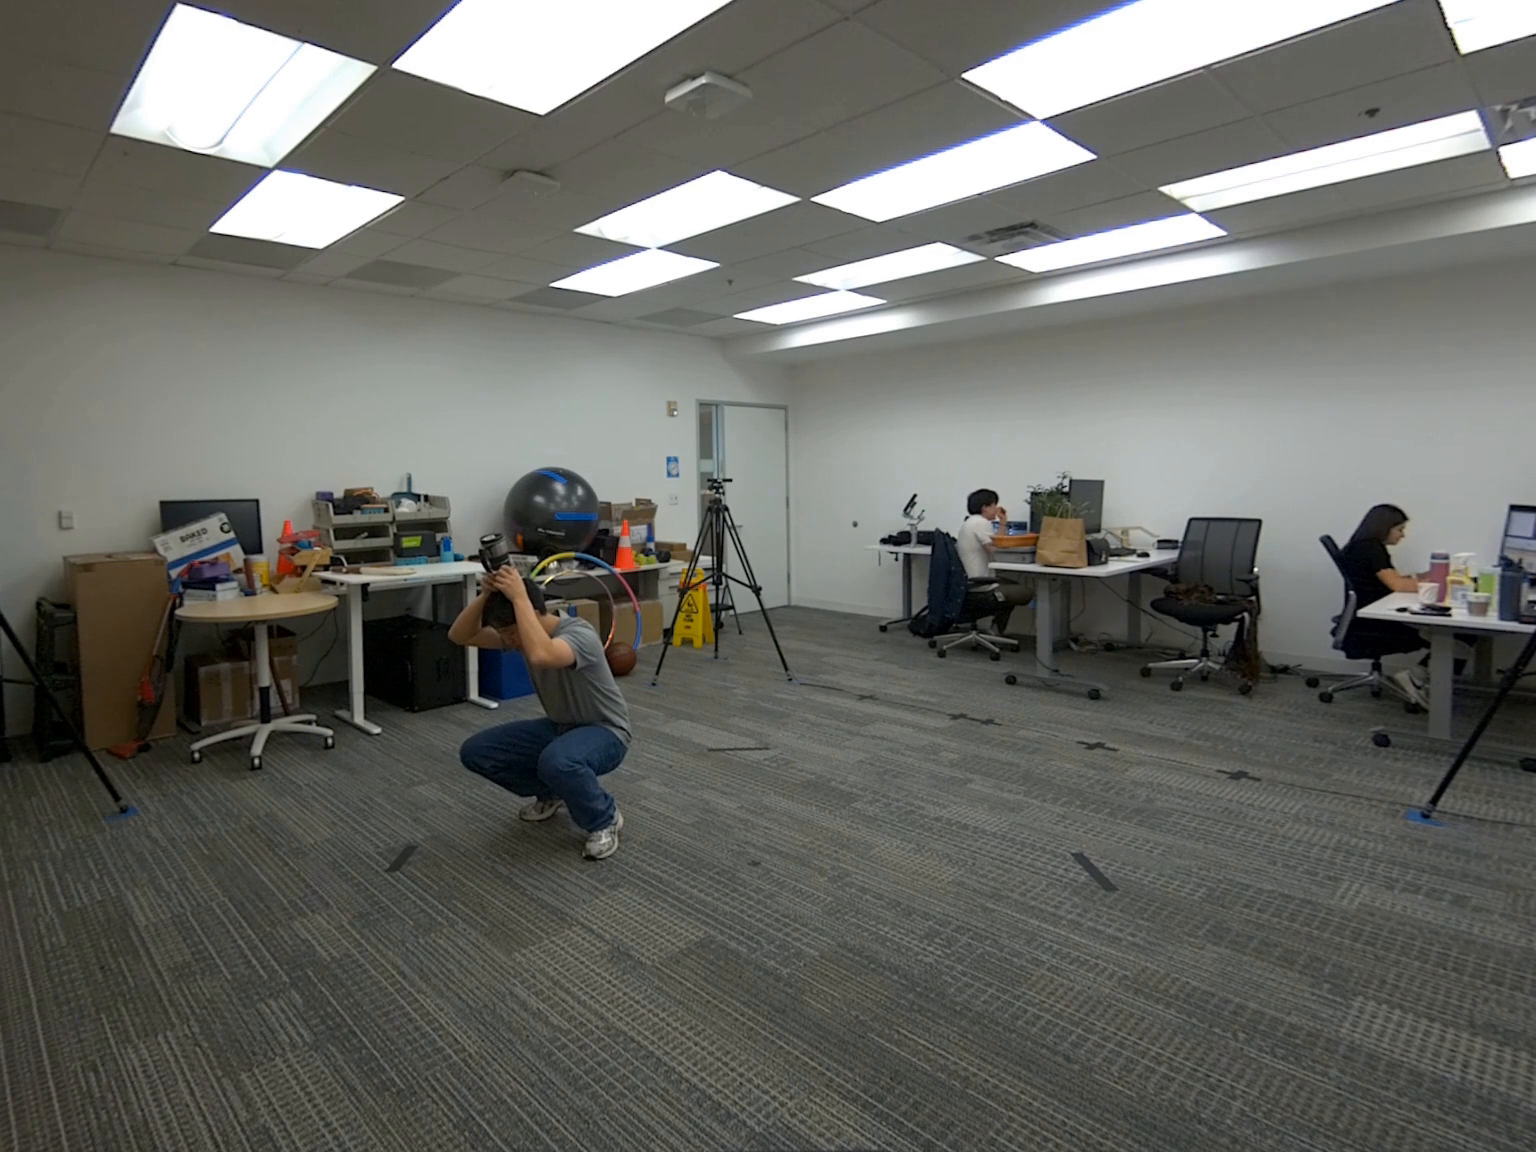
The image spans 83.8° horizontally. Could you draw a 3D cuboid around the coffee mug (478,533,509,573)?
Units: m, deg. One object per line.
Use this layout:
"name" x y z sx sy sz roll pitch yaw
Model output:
"coffee mug" -0.991 -0.045 3.104 0.090 0.199 0.121 5 25 37
